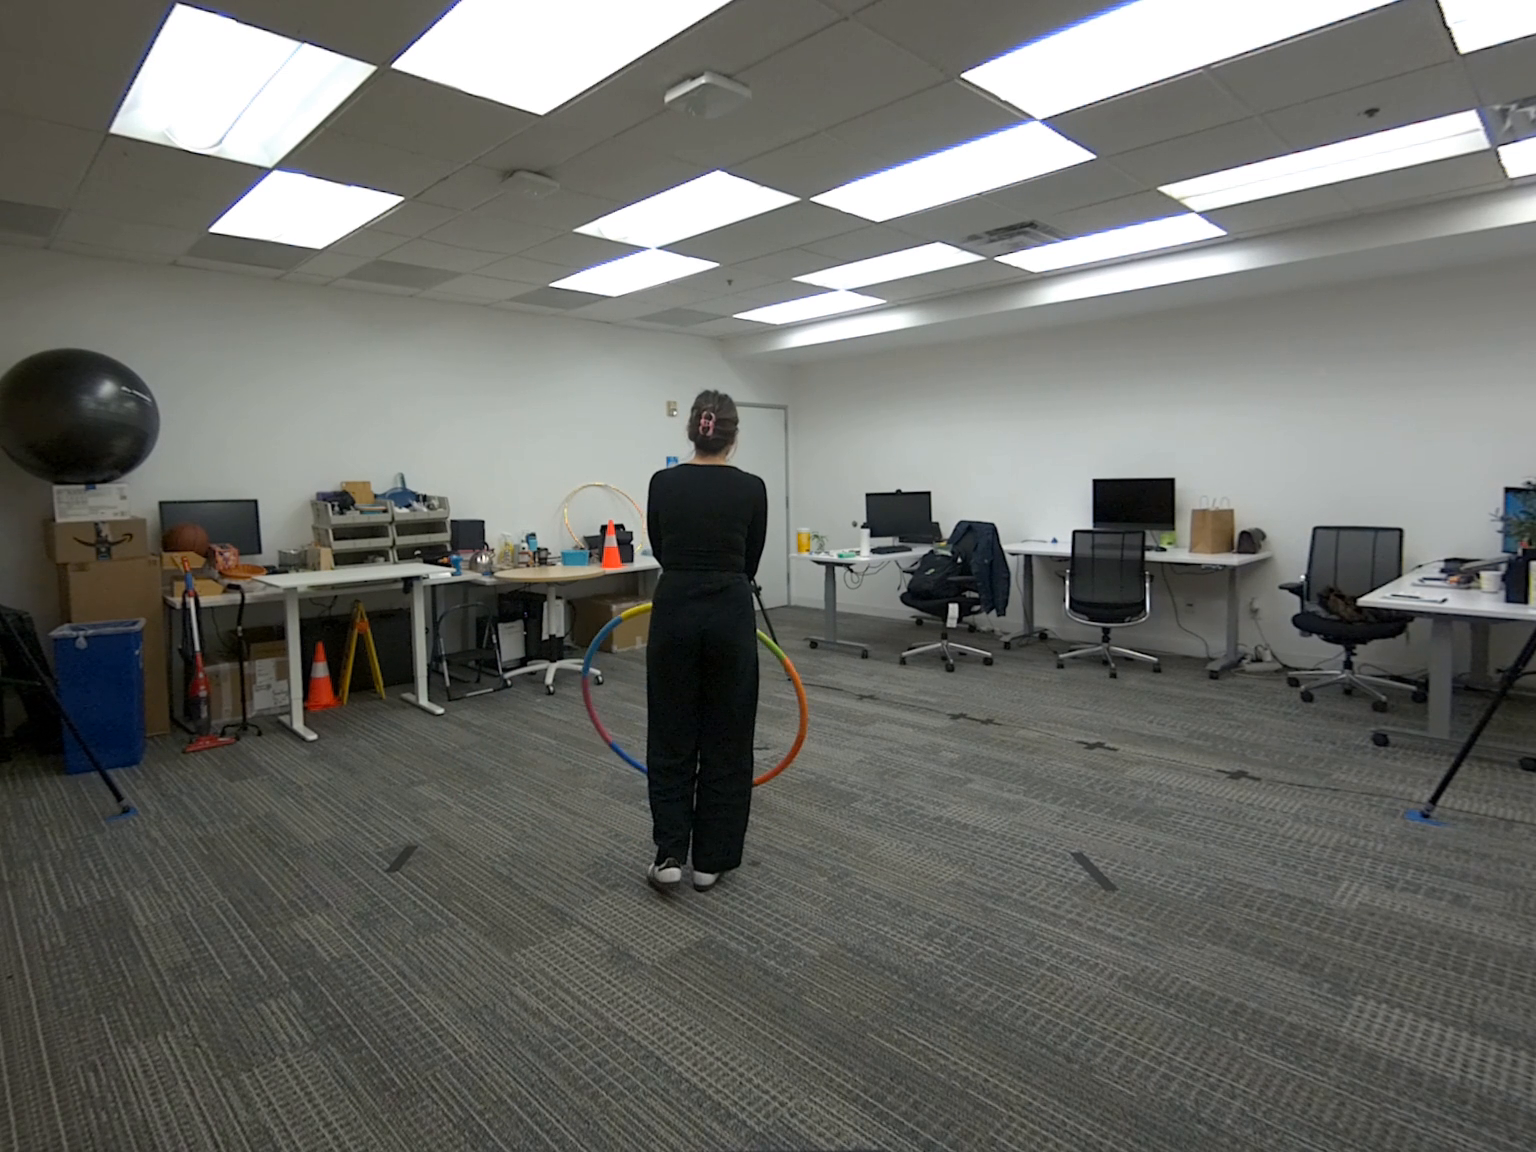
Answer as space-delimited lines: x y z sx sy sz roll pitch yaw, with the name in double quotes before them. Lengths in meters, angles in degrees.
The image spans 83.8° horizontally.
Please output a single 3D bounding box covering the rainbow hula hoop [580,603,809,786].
"rainbow hula hoop" -0.320 0.528 3.643 0.992 0.955 0.036 1 27 14
